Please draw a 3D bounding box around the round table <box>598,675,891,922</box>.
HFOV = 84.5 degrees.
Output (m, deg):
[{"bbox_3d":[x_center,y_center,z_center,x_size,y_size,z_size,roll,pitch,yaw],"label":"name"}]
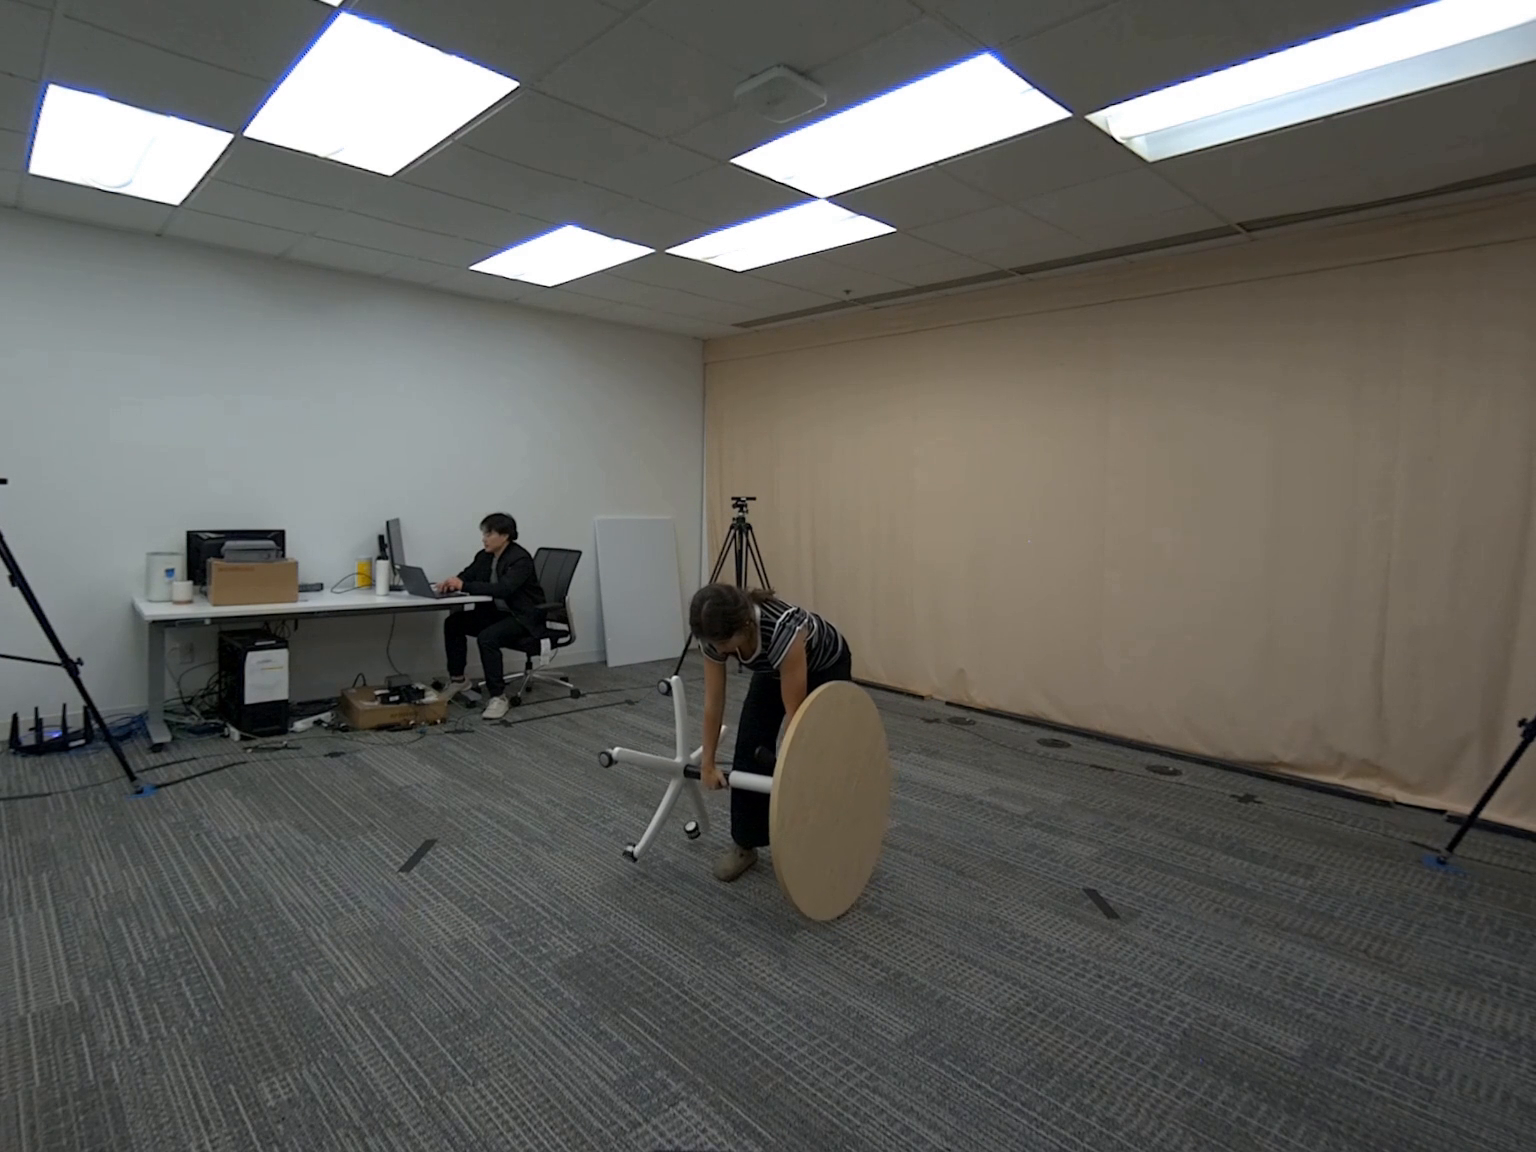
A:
[{"bbox_3d":[-0.099,0.744,3.036,0.811,0.763,0.748,-2,2,35],"label":"round table"}]
